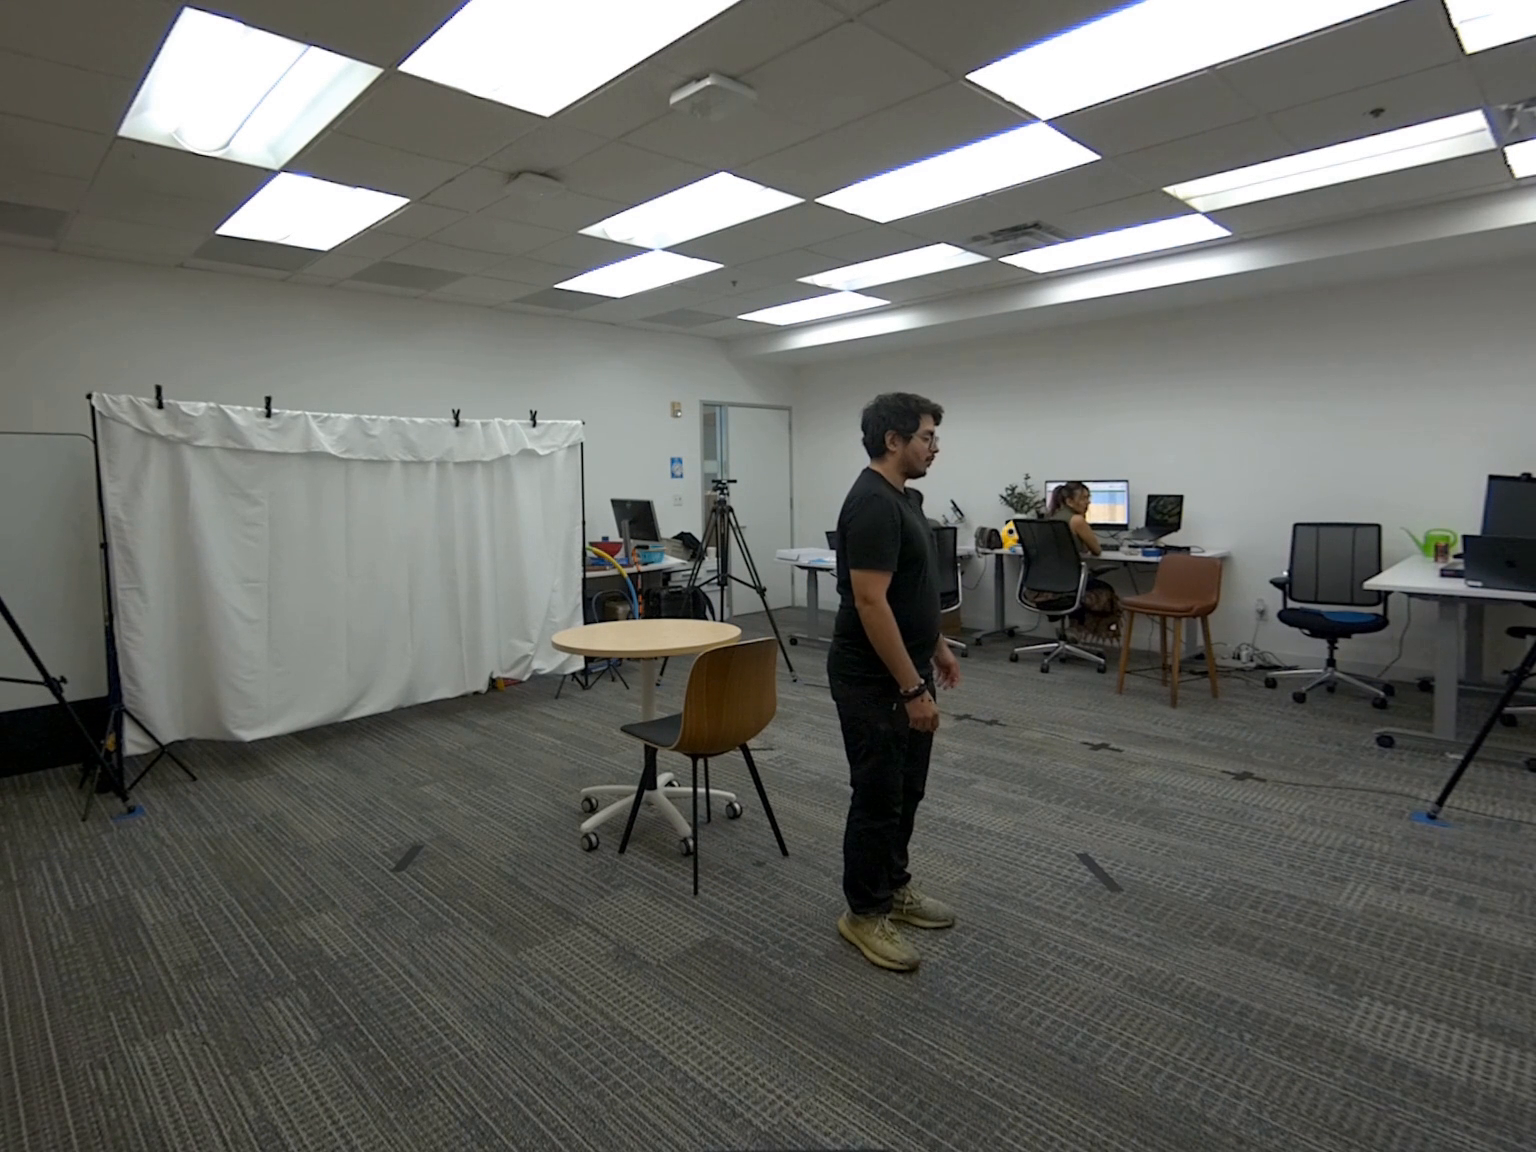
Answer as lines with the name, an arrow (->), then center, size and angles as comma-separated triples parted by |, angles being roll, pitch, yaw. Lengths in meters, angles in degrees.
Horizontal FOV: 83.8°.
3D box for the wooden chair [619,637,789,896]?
wooden chair -> -0.249, 0.616, 3.170 | 0.466, 0.871, 0.540 | -6, 10, -42
